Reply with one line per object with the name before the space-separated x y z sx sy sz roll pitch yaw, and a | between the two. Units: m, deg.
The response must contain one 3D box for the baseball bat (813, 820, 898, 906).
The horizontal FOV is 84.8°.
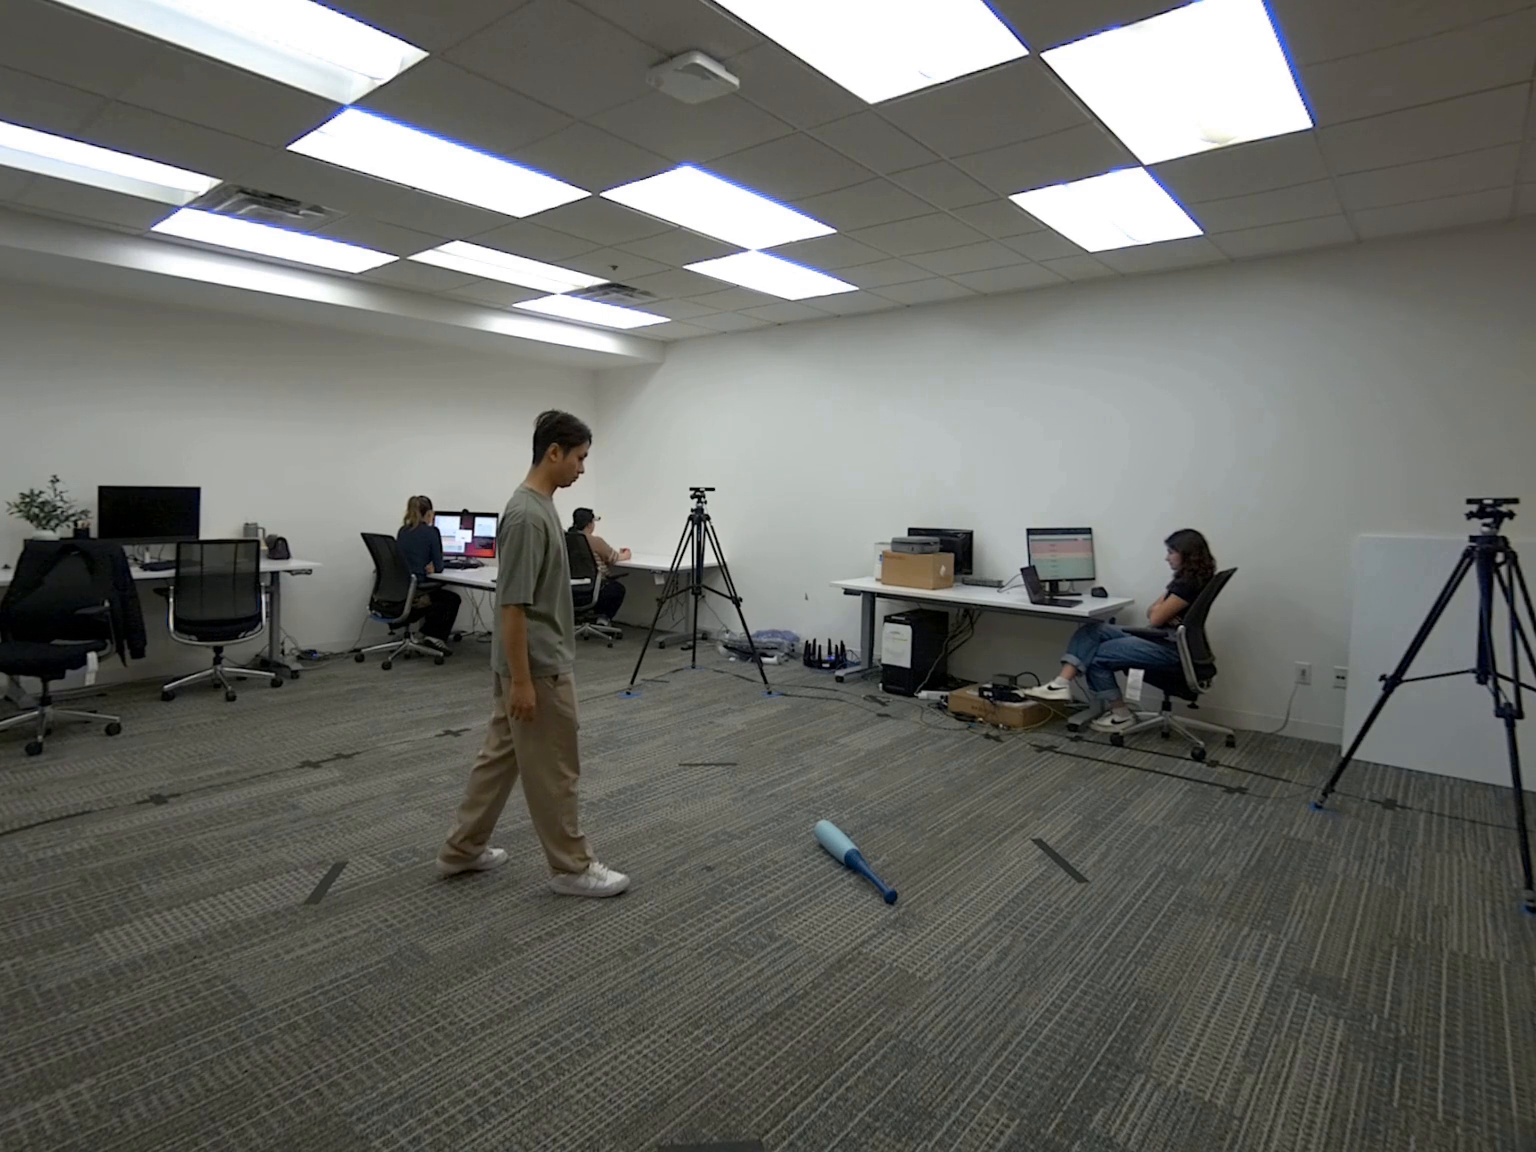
baseball bat | 0.310 1.043 3.118 0.087 0.088 0.557 -1 8 -22
